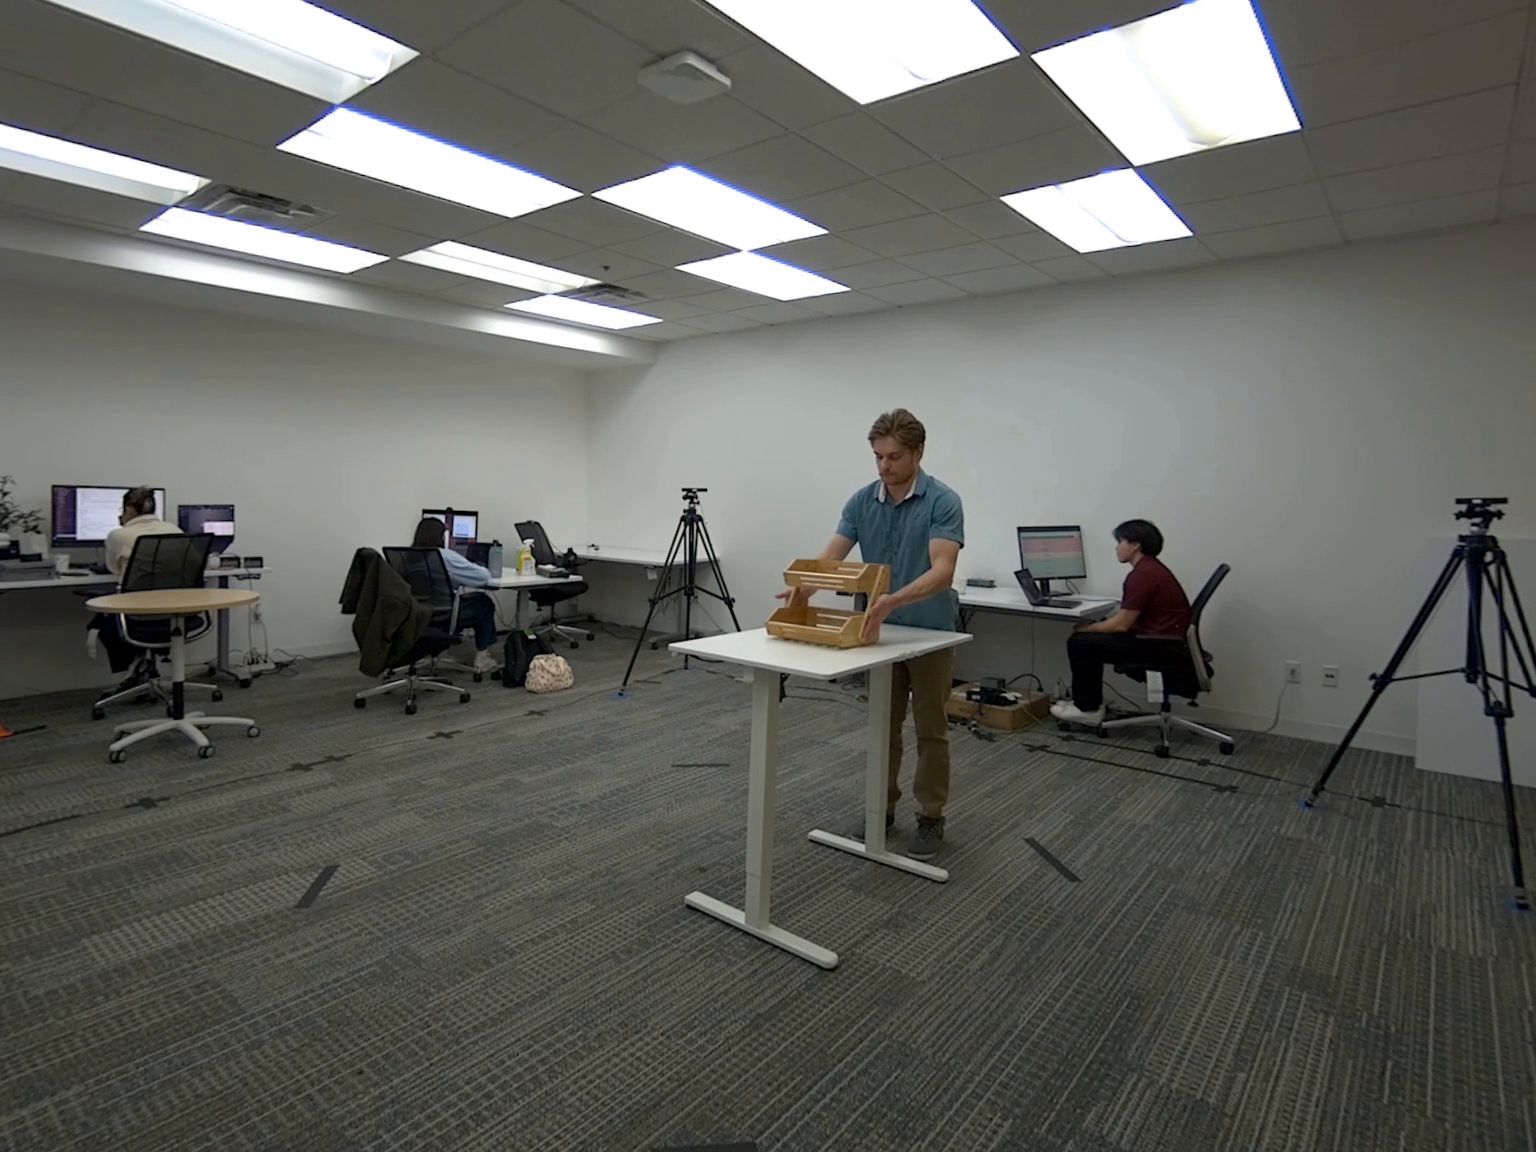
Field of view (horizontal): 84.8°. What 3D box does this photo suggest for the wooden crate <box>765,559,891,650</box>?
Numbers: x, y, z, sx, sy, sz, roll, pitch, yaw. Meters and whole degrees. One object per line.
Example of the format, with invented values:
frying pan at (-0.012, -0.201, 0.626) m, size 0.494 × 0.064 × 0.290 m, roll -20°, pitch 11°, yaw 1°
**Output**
wooden crate at (0.197, 0.079, 2.902) m, size 0.335 × 0.273 × 0.292 m, roll 5°, pitch 2°, yaw 38°
